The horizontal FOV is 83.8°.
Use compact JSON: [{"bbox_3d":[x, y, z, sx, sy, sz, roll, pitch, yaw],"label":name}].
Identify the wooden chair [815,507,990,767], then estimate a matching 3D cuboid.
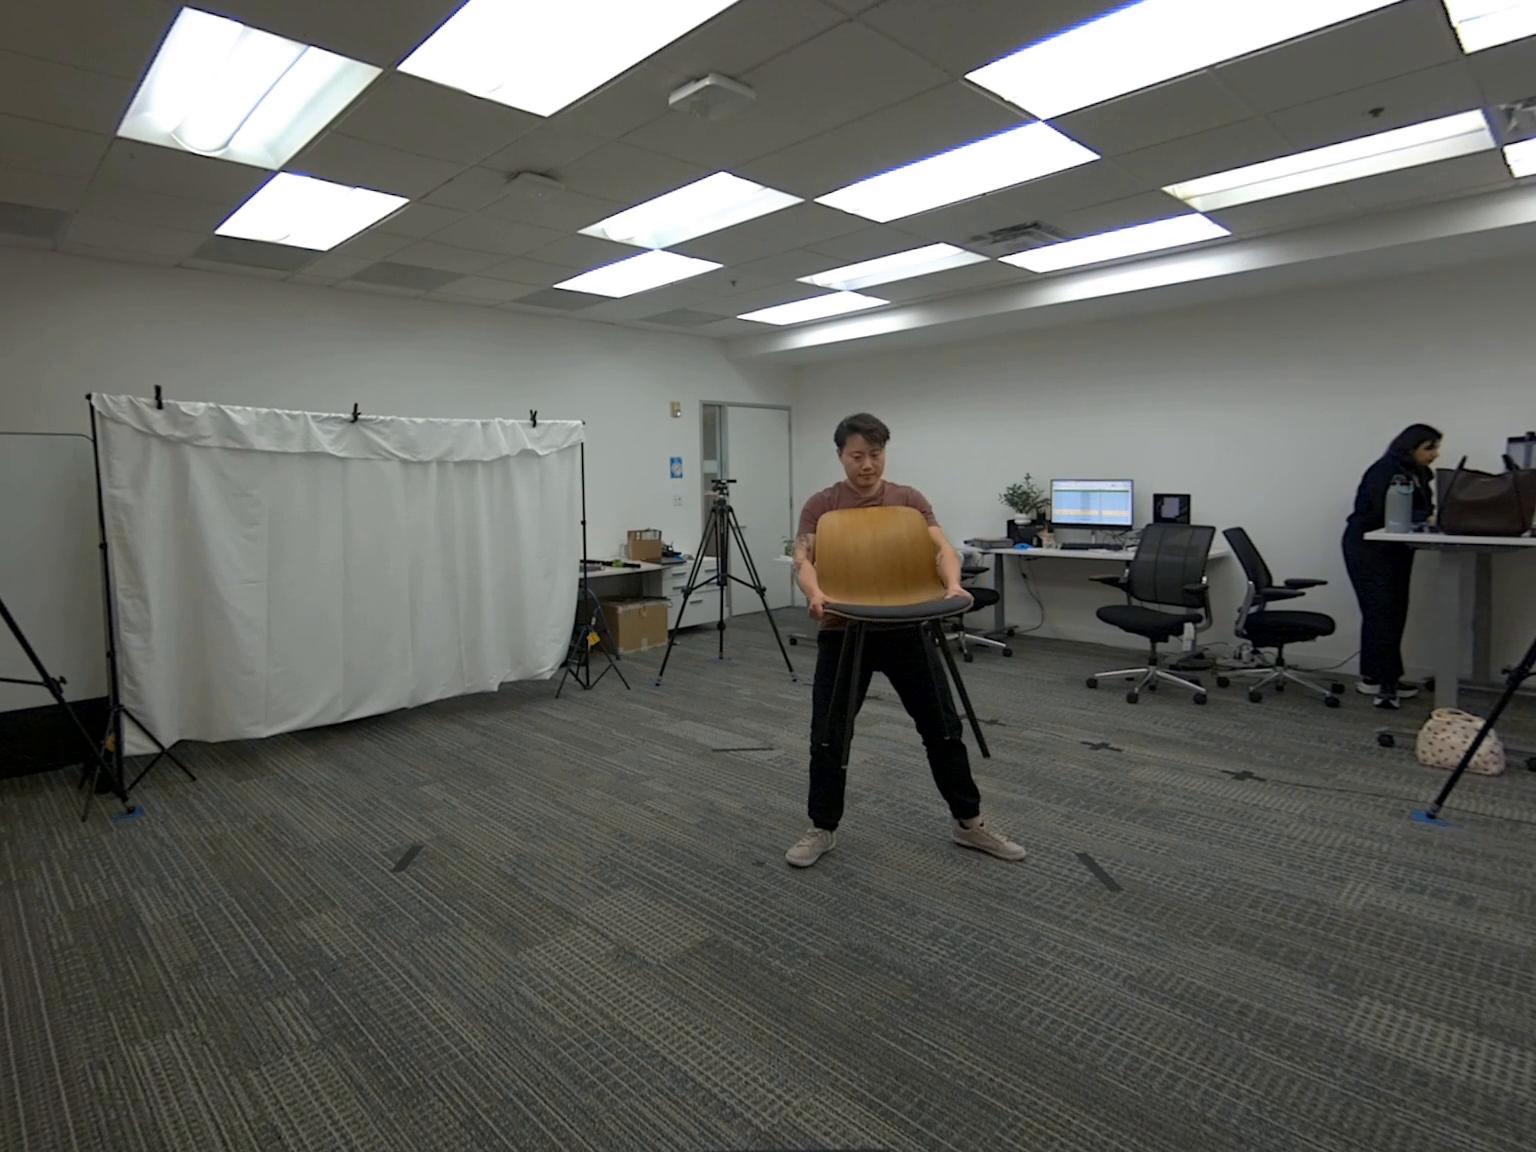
[{"bbox_3d":[0.417,0.153,2.839,0.477,0.885,0.520,-3,-8,-3],"label":"wooden chair"}]
